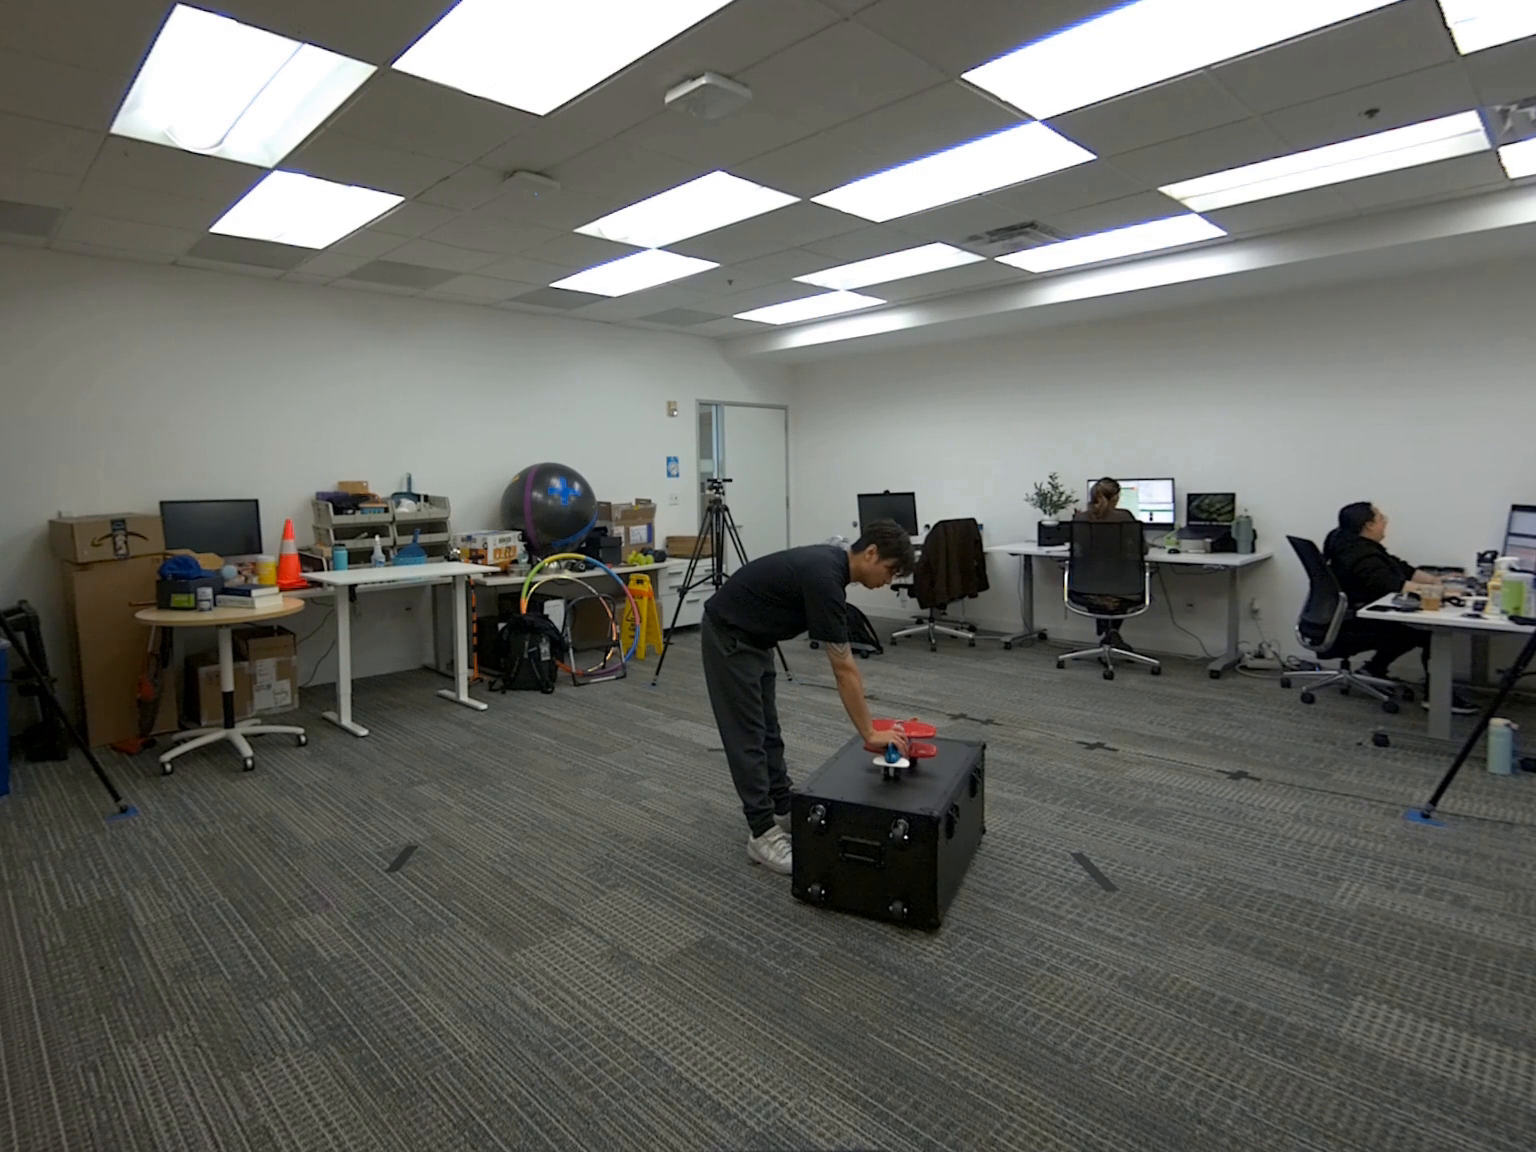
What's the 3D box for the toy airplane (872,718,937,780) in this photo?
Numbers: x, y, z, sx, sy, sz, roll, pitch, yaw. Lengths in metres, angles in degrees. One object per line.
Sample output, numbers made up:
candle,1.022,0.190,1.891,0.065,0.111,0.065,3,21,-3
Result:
toy airplane,0.478,0.600,2.976,0.251,0.156,0.260,-2,5,-2
